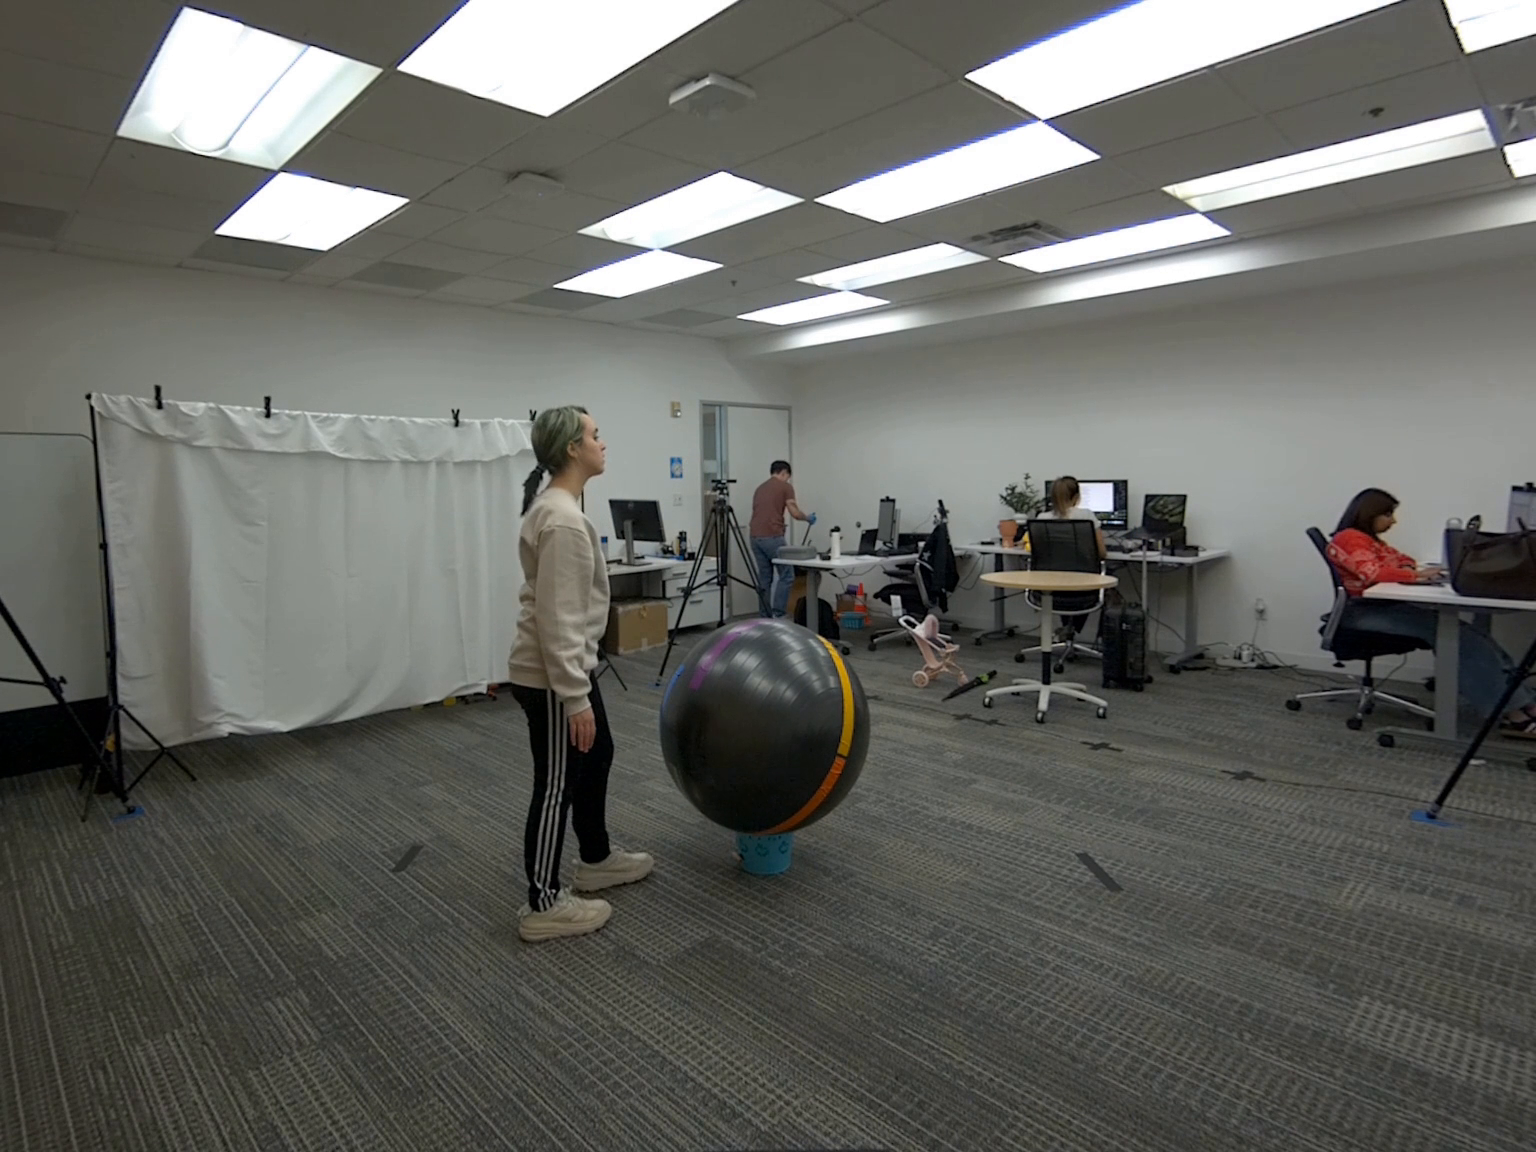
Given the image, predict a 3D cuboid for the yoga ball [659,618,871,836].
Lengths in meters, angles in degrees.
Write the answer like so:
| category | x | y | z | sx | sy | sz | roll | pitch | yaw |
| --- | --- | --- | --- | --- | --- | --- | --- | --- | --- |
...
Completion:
| category | x | y | z | sx | sy | sz | roll | pitch | yaw |
| --- | --- | --- | --- | --- | --- | --- | --- | --- | --- |
| yoga ball | -0.017 | 0.532 | 3.087 | 0.757 | 0.755 | 0.762 | -1 | 5 | -2 |
